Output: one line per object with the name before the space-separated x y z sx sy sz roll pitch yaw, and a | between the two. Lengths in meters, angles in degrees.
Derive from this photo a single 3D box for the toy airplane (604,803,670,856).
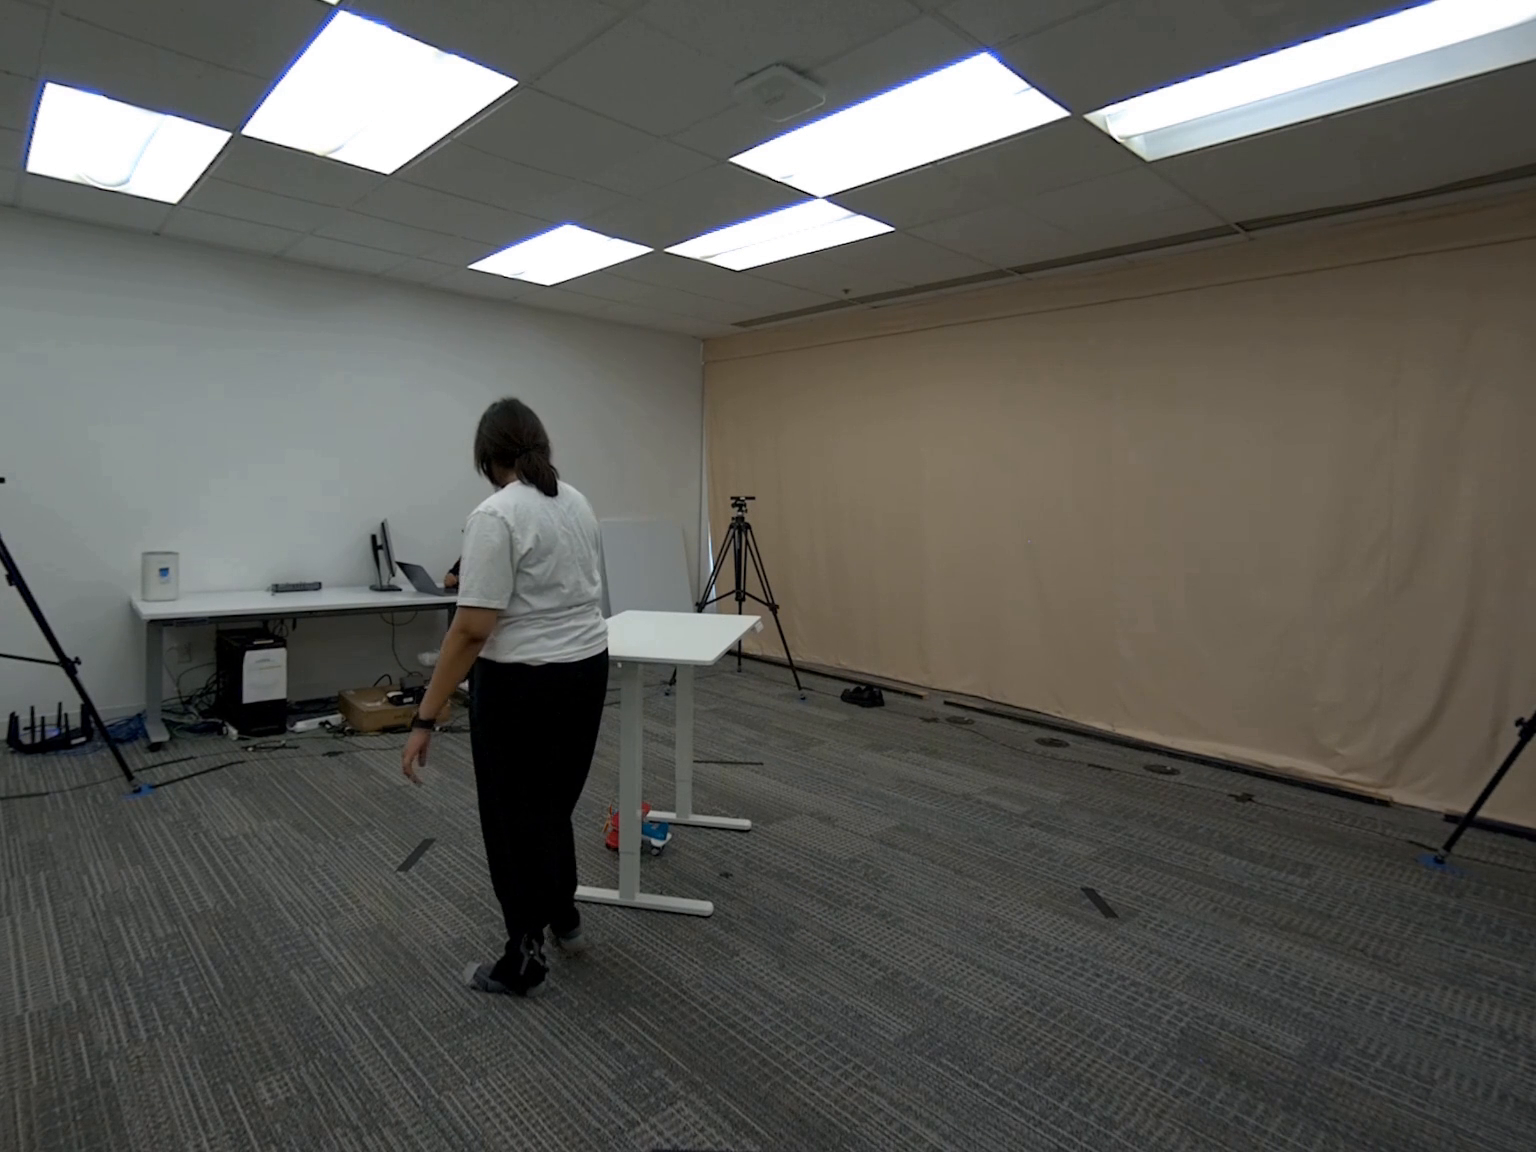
toy airplane | -0.522 1.003 3.325 0.257 0.156 0.253 0 5 -9
